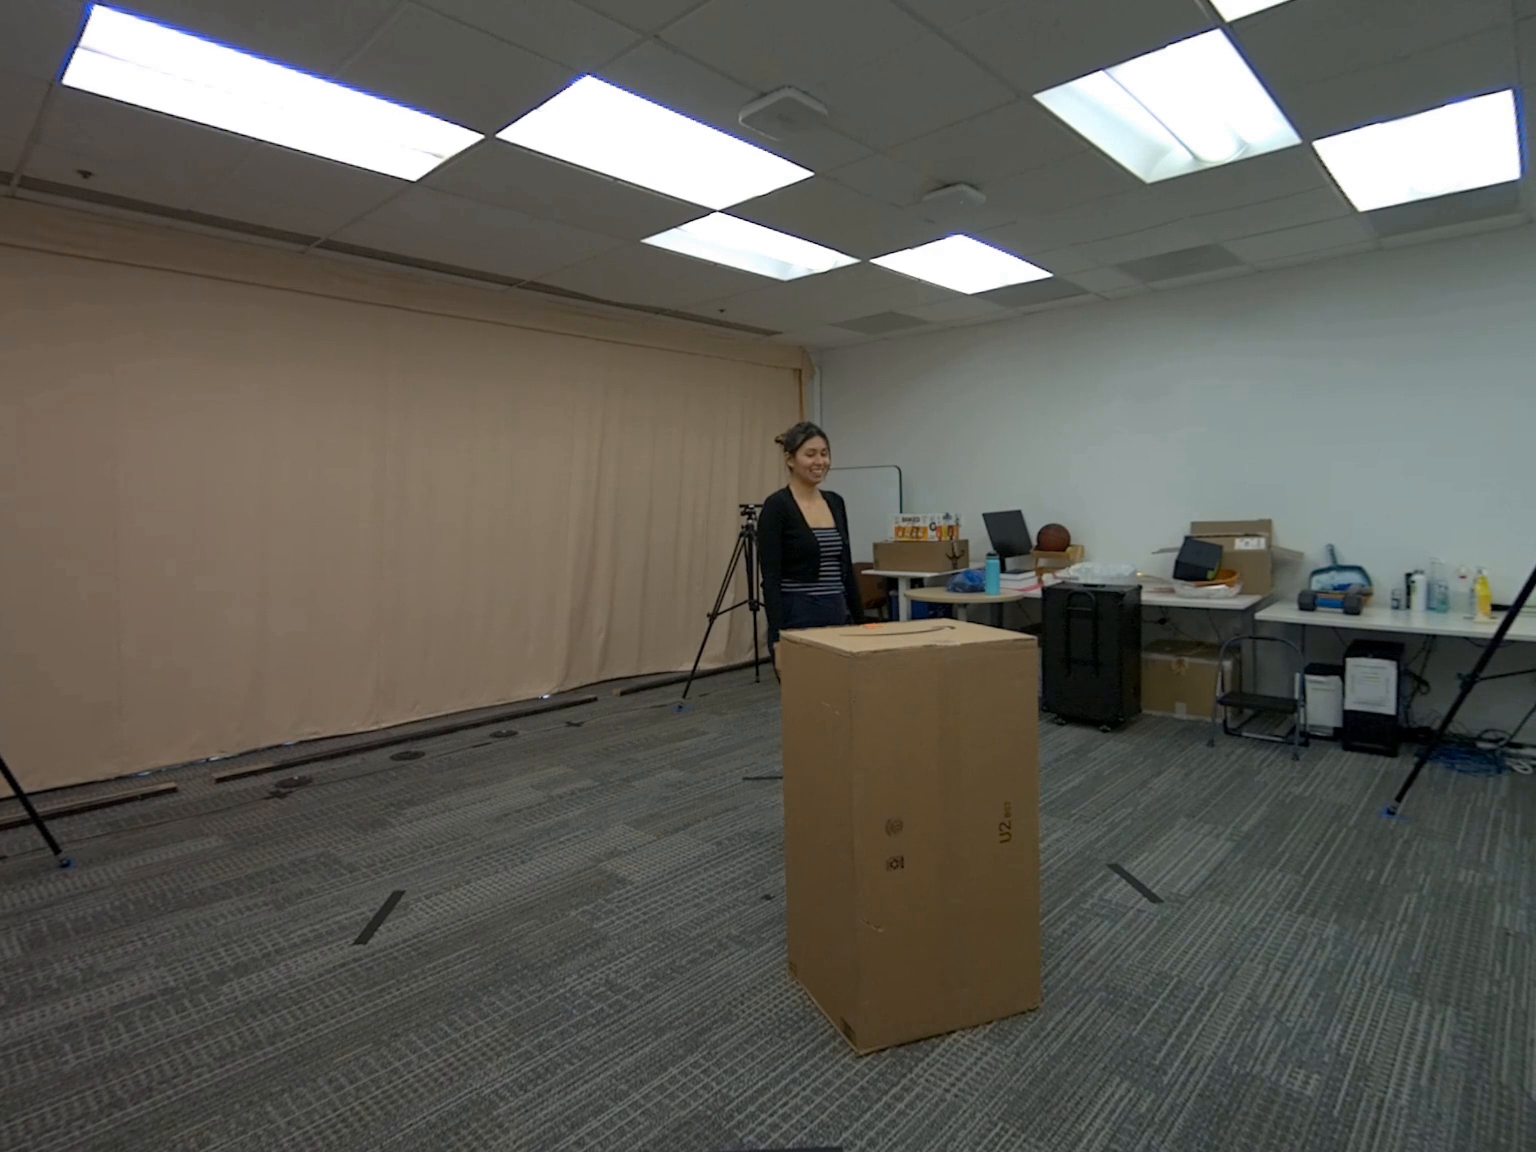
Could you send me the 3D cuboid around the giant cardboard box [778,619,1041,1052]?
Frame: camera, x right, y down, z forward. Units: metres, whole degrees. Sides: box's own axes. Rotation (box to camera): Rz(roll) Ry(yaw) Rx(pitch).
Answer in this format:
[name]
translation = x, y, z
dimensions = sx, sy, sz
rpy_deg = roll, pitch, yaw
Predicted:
[giant cardboard box]
translation = 0.395, 0.673, 2.385
dimensions = 0.565, 1.024, 0.436
rpy_deg = -3, 3, -22
